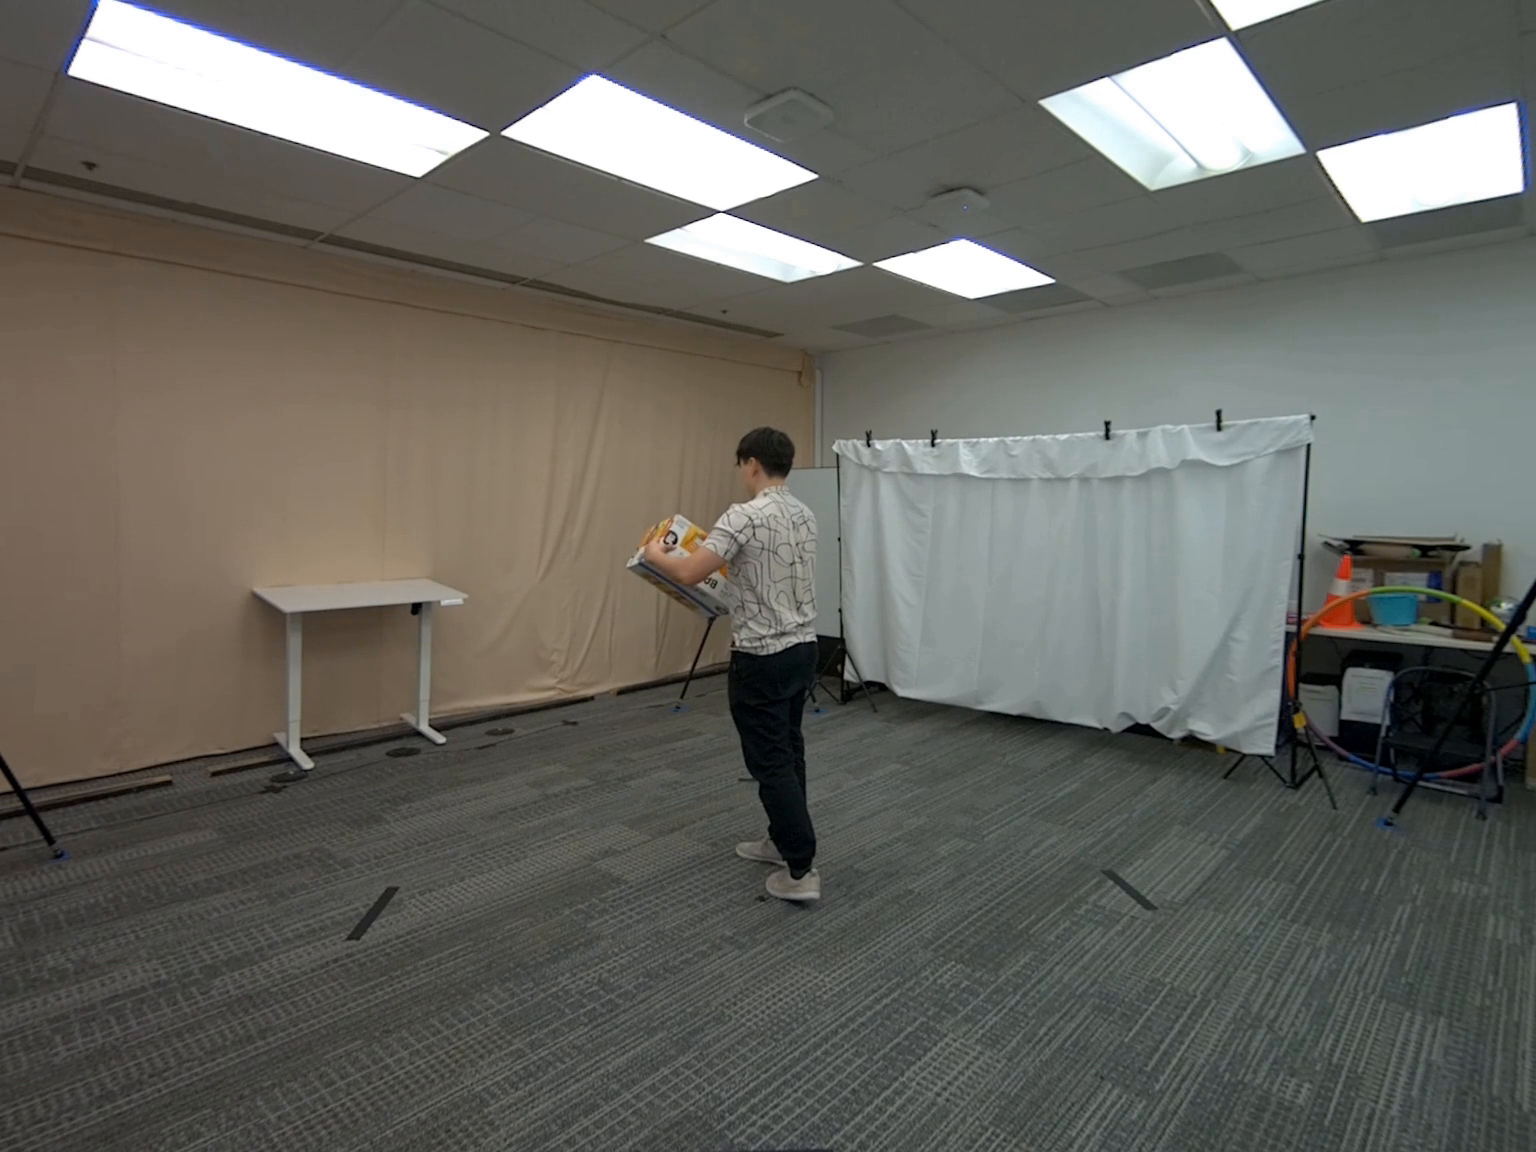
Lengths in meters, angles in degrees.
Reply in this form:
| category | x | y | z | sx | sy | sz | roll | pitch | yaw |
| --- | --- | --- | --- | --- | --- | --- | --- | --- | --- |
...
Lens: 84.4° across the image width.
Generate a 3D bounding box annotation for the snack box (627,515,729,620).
| category | x | y | z | sx | sy | sz | roll | pitch | yaw |
| --- | --- | --- | --- | --- | --- | --- | --- | --- | --- |
| snack box | -0.310 | -0.031 | 3.435 | 0.397 | 0.206 | 0.347 | 35 | -21 | -17 |
